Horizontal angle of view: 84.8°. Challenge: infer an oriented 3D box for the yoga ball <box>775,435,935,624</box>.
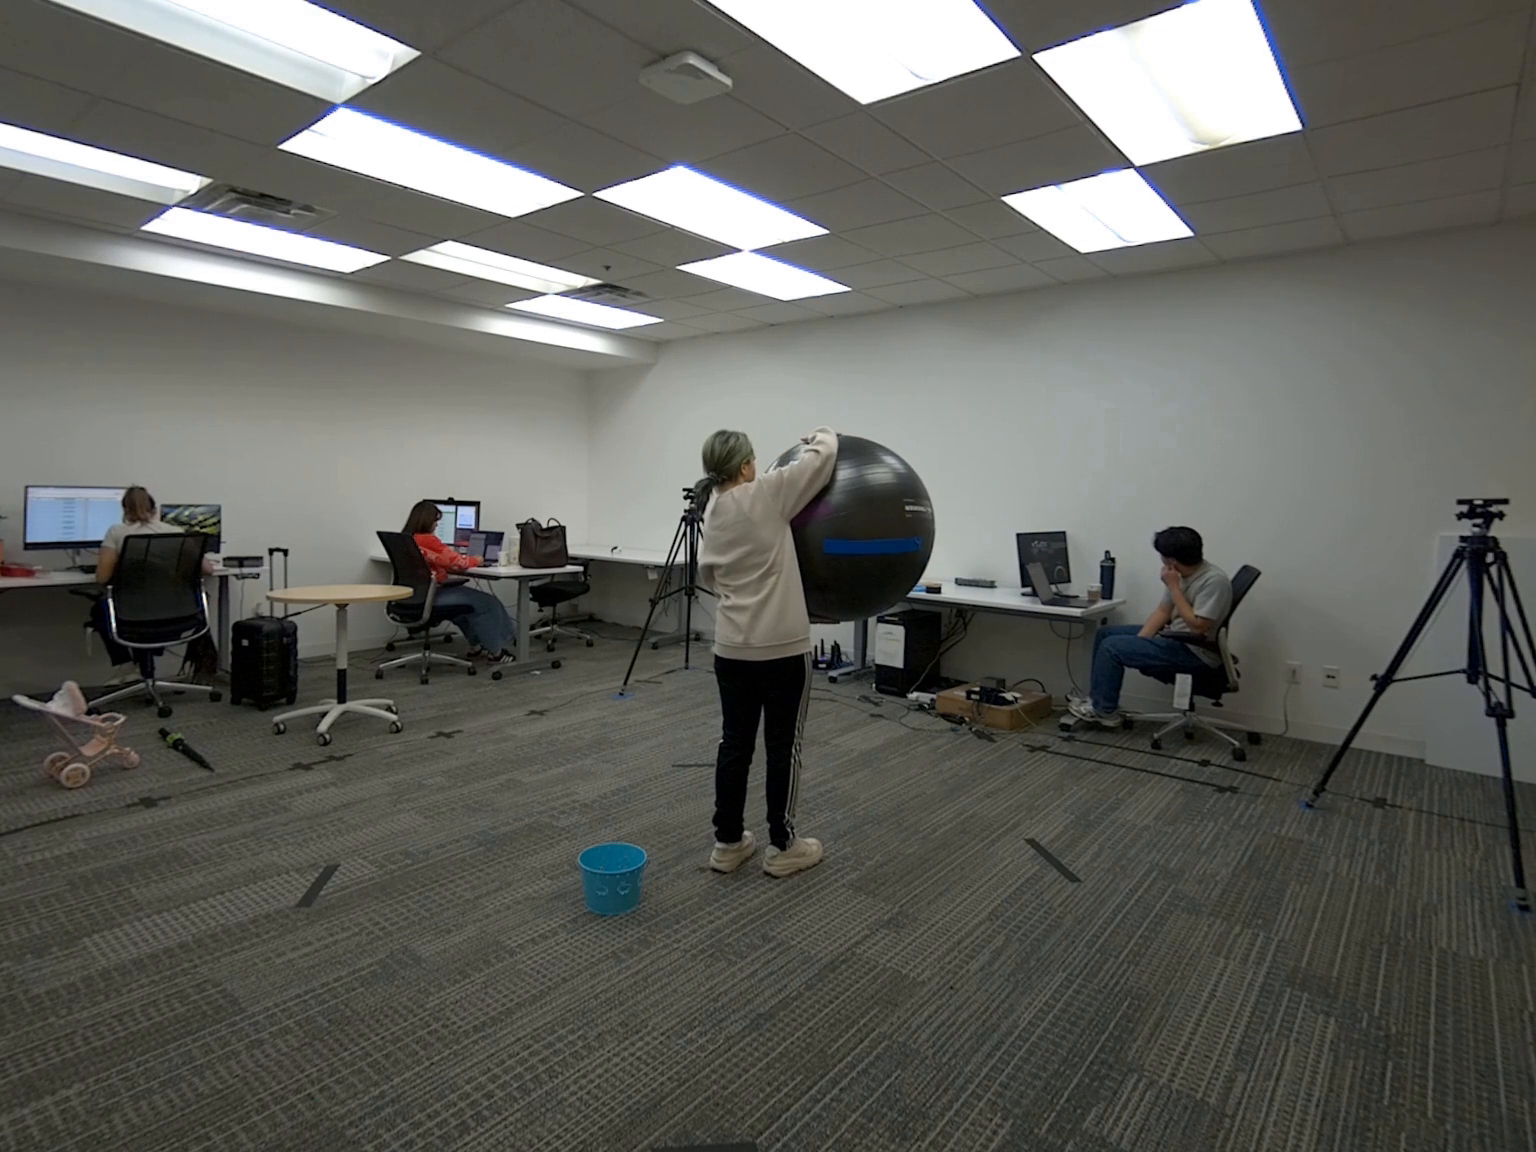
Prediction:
[{"bbox_3d":[0.287,-0.195,3.456,0.757,0.756,0.761,1,4,-2],"label":"yoga ball"}]
